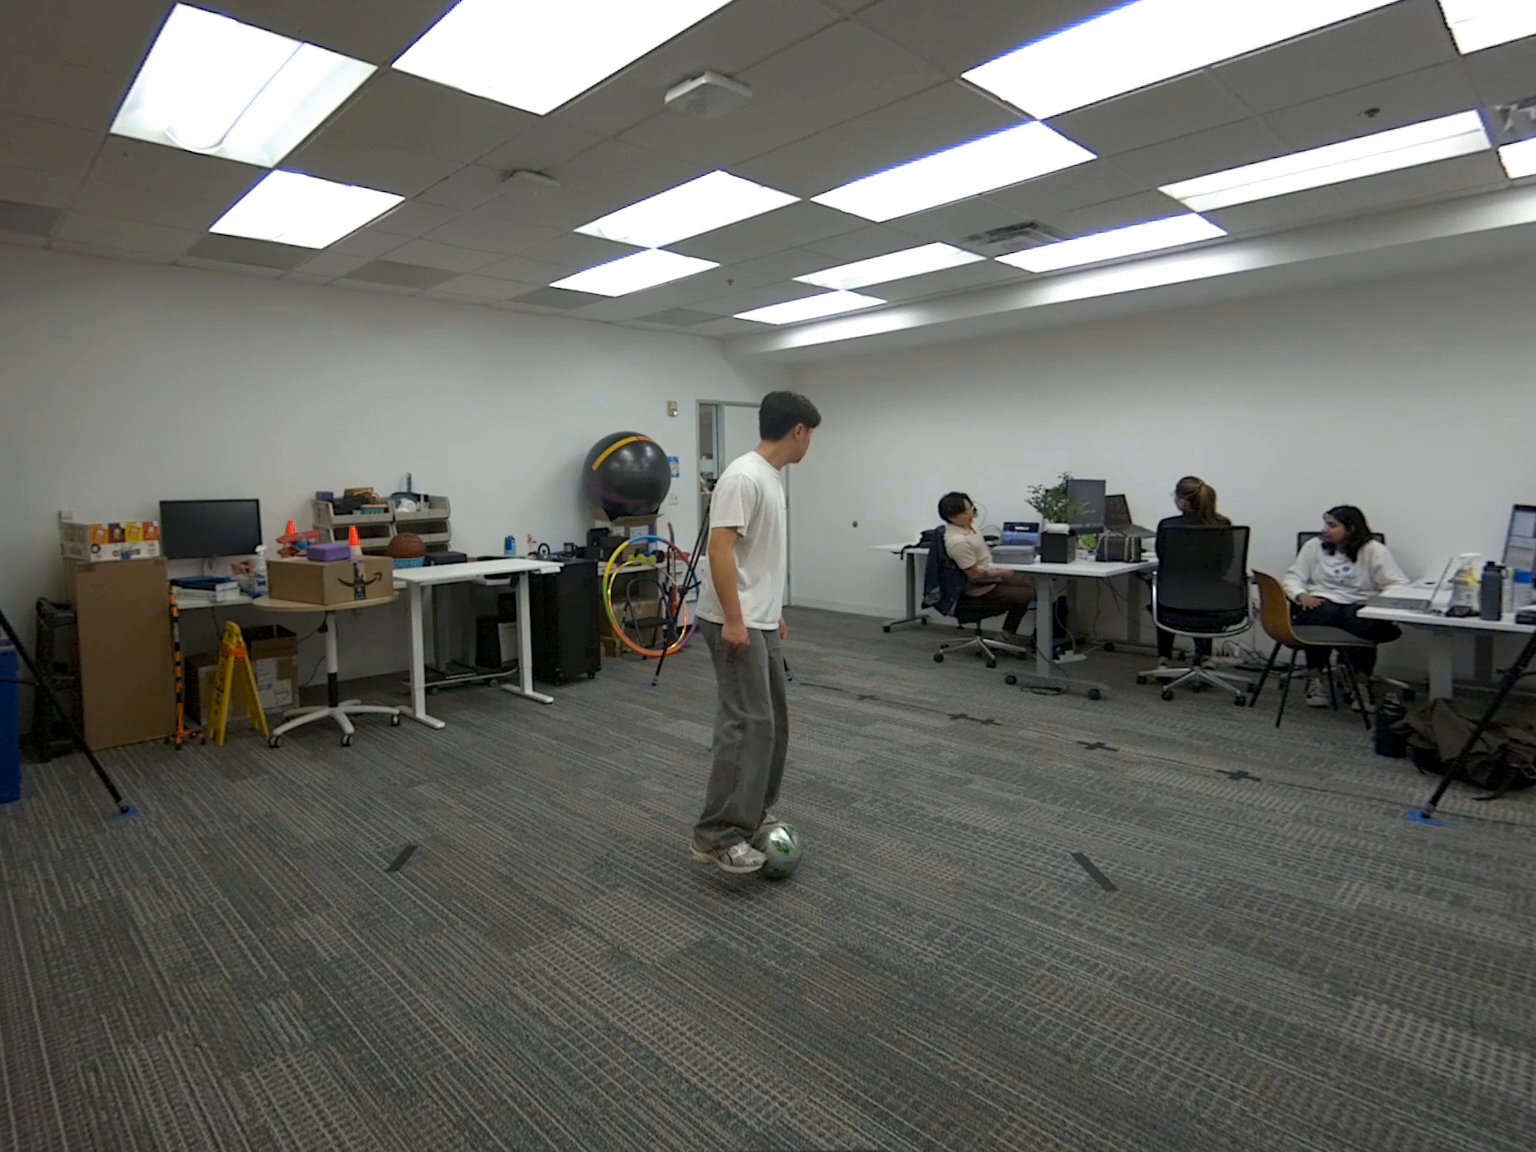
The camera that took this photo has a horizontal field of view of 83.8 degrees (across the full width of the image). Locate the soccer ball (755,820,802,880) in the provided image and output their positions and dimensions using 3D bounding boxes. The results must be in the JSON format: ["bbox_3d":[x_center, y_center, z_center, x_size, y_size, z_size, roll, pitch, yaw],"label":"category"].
[{"bbox_3d":[0.036,0.959,3.016,0.187,0.187,0.188,-1,5,-2],"label":"soccer ball"}]
